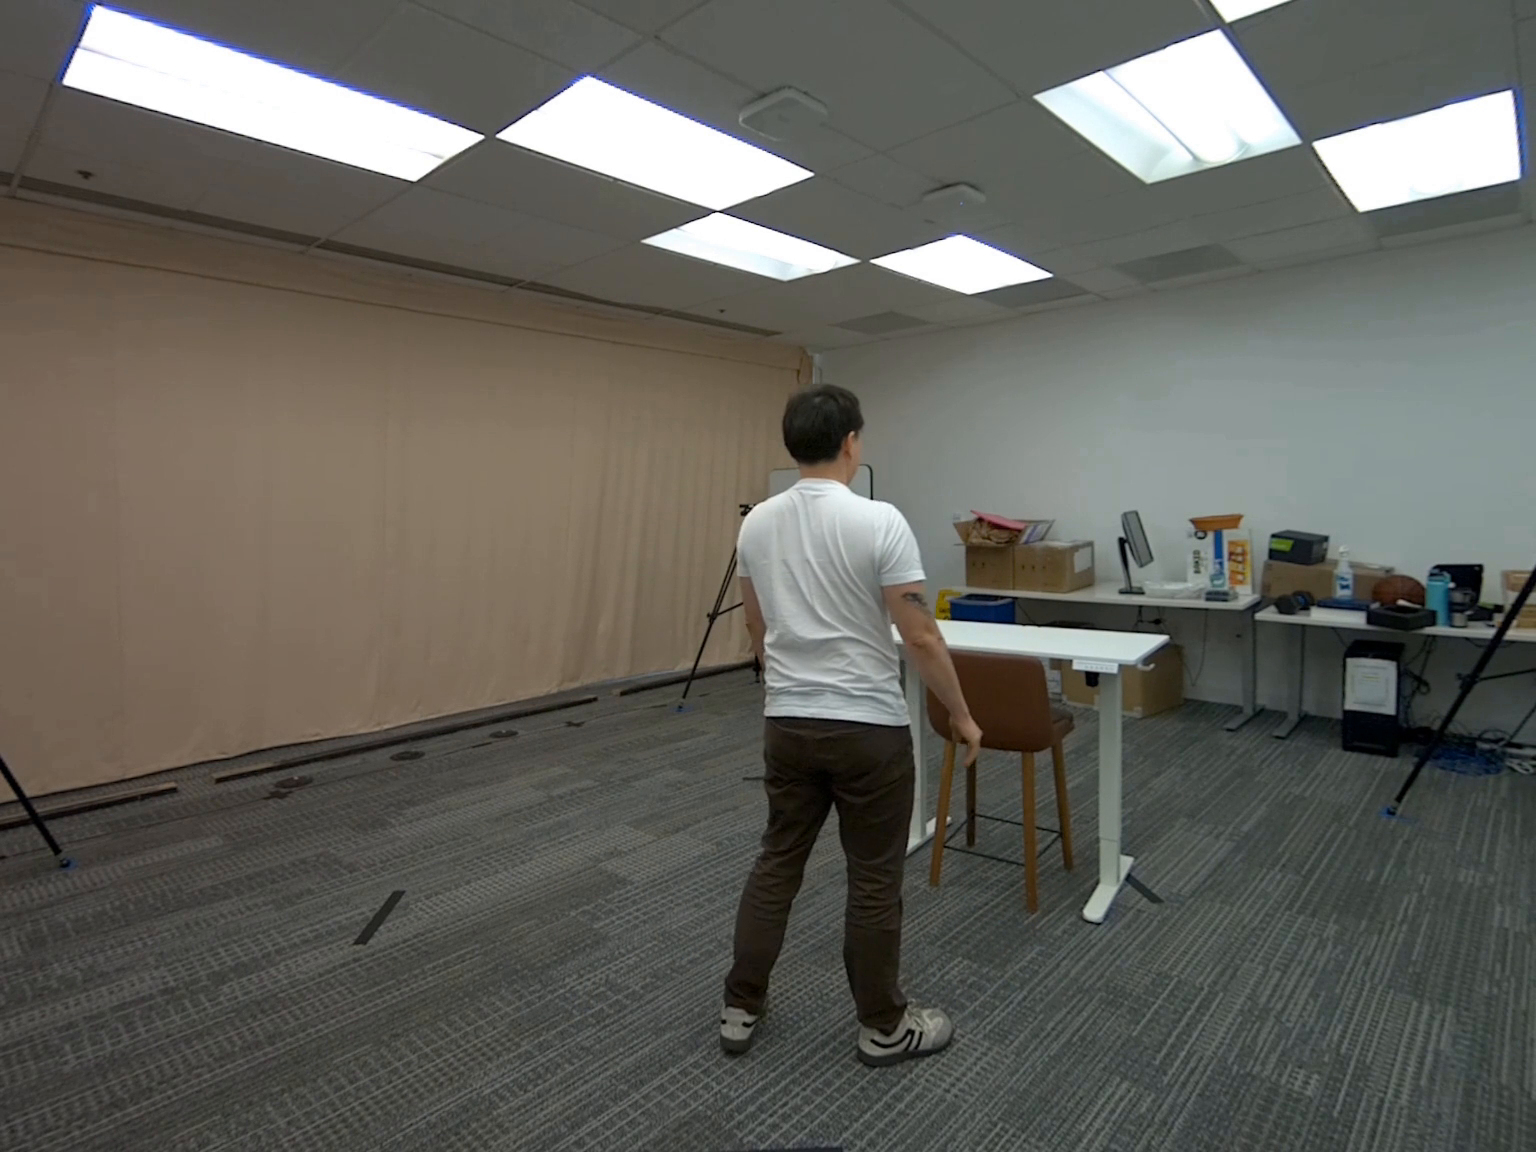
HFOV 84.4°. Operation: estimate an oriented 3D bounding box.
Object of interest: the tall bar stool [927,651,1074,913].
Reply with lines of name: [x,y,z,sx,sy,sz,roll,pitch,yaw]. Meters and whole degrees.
tall bar stool: [0.853,0.678,3.092,0.471,0.887,0.454,2,6,35]
